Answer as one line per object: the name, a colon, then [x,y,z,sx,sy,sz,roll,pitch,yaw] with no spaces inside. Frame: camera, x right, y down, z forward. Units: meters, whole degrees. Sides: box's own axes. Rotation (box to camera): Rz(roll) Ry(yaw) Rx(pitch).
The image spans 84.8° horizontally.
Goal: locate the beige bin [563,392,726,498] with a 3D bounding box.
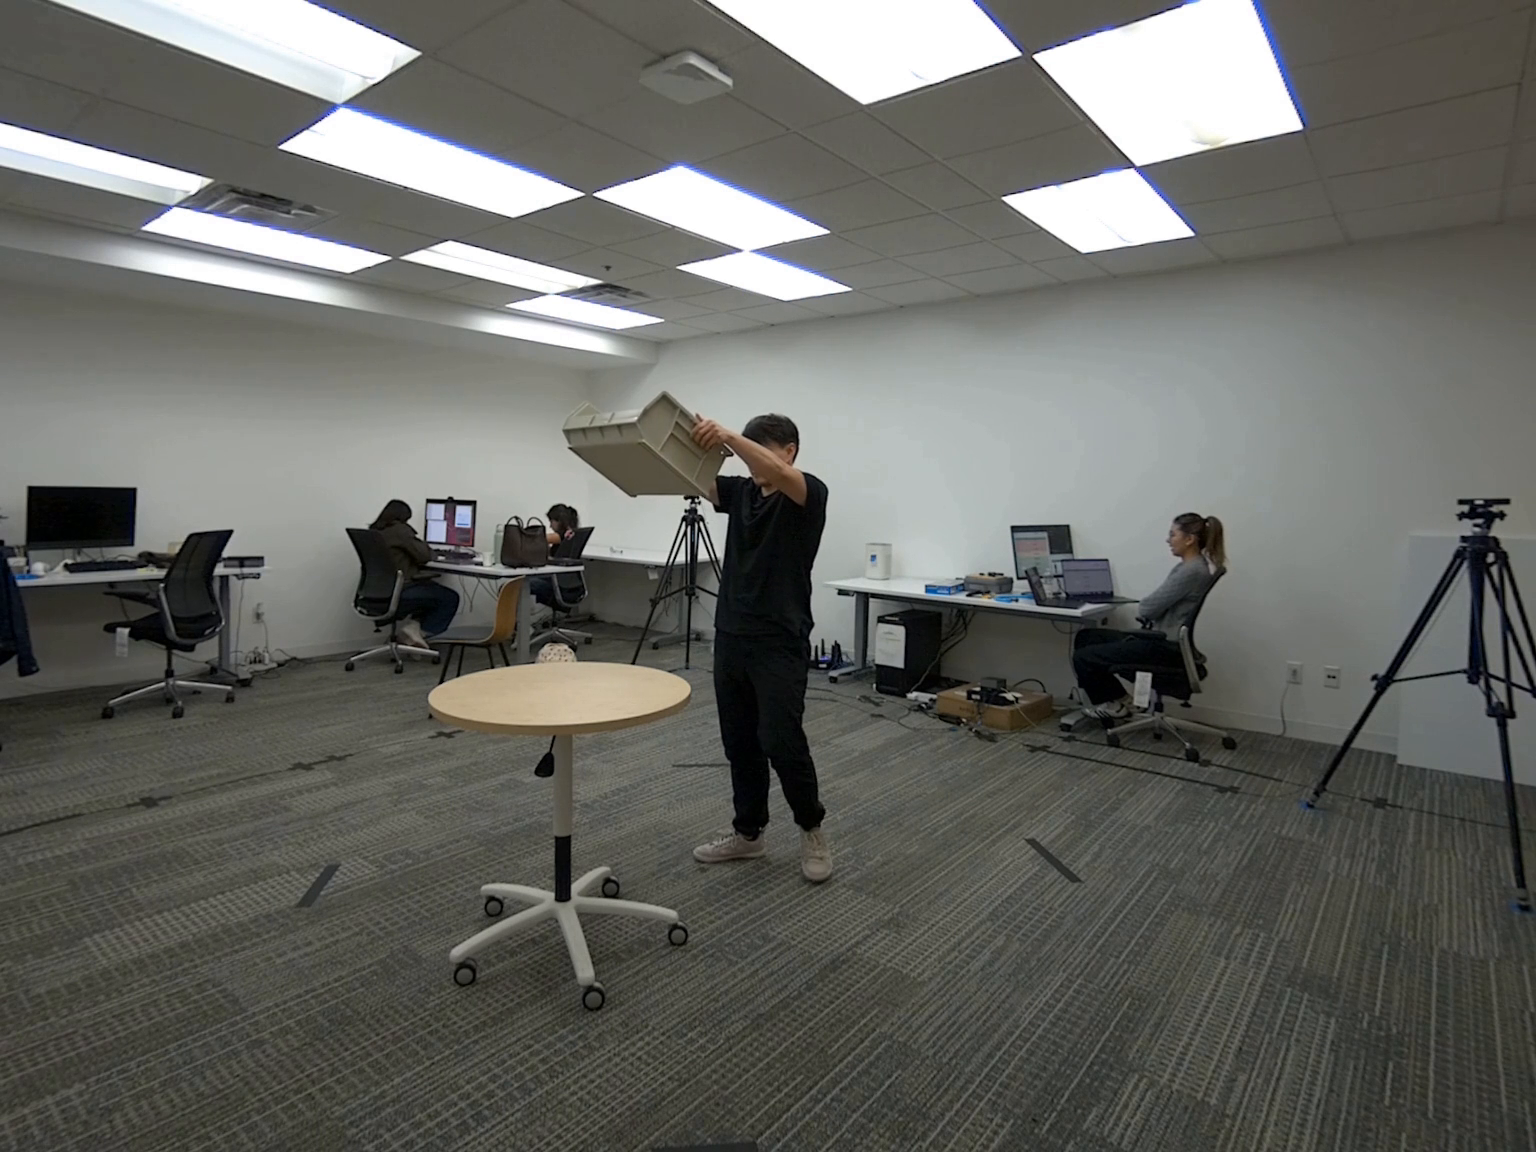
beige bin: [-0.412,-0.422,2.768,0.436,0.190,0.362,4,-26,45]
